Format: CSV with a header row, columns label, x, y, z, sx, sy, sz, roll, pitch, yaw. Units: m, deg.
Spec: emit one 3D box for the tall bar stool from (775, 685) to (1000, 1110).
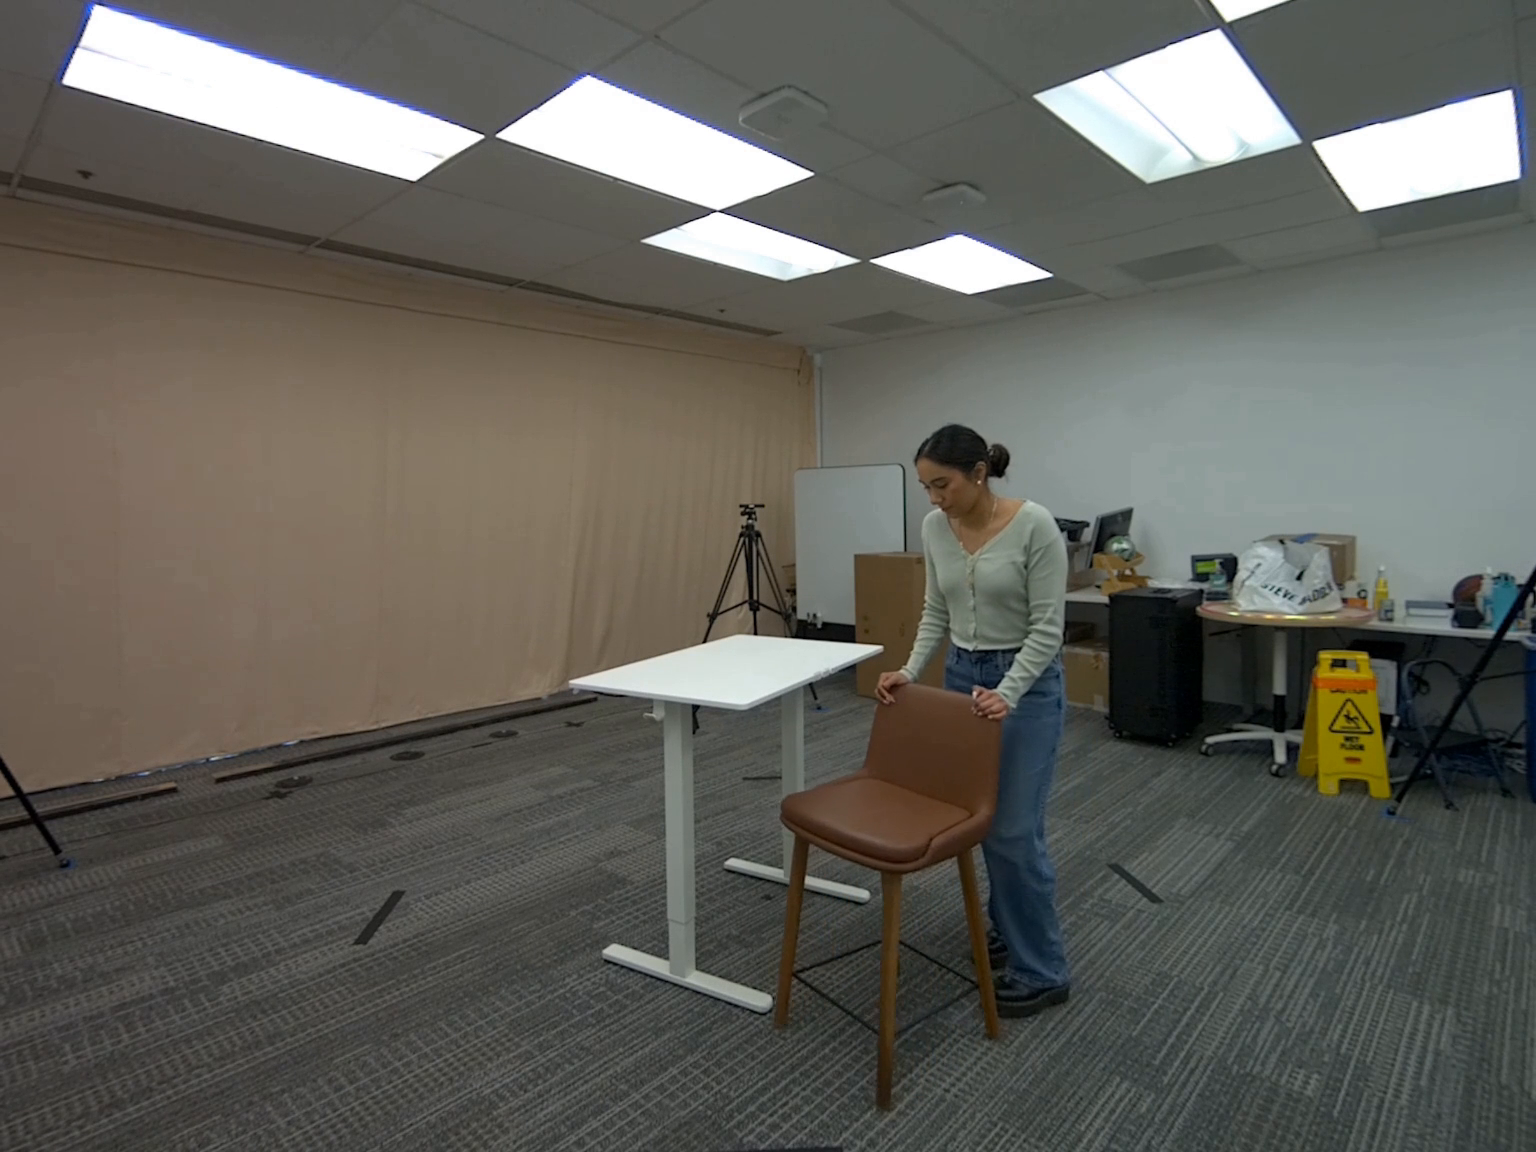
label,x,y,z,sx,sy,sz,roll,pitch,yaw
tall bar stool,0.322,0.770,2.190,0.453,0.888,0.471,-1,3,-37
